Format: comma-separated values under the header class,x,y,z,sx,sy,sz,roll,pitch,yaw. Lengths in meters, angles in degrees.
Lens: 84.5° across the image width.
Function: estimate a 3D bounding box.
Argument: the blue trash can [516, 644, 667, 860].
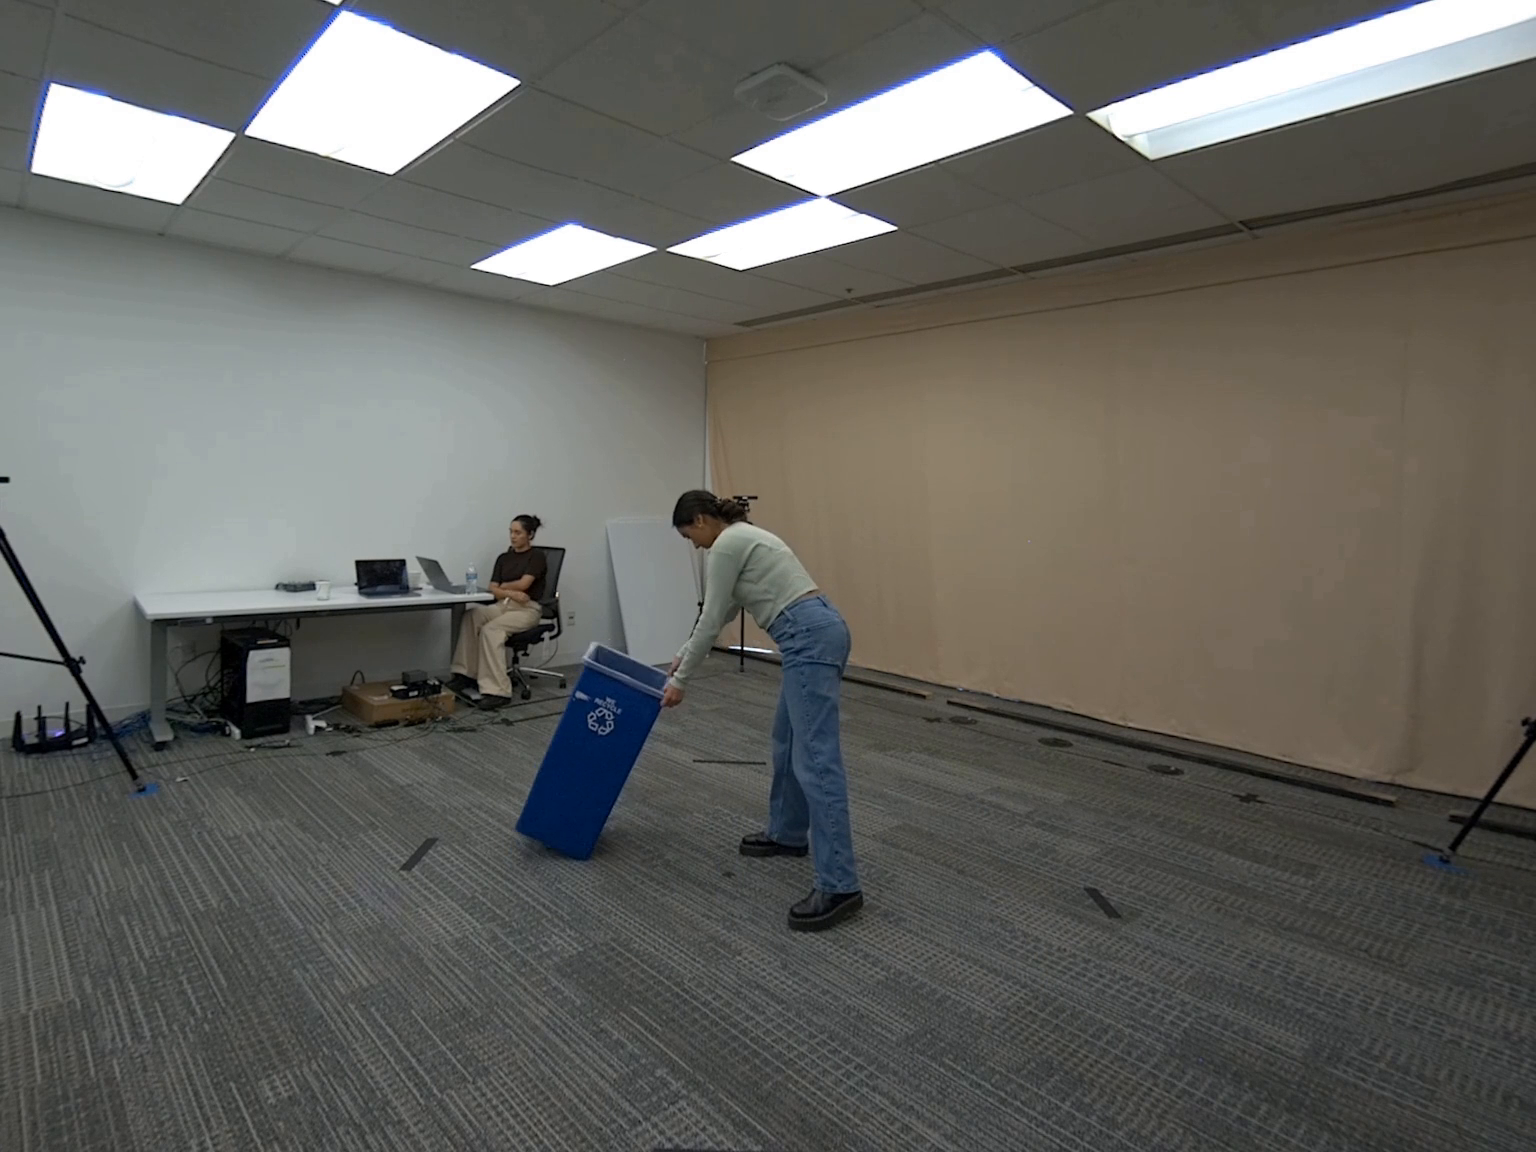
class,x,y,z,sx,sy,sz,roll,pitch,yaw
blue trash can,-0.674,0.686,3.319,0.372,0.713,0.380,24,2,-6
